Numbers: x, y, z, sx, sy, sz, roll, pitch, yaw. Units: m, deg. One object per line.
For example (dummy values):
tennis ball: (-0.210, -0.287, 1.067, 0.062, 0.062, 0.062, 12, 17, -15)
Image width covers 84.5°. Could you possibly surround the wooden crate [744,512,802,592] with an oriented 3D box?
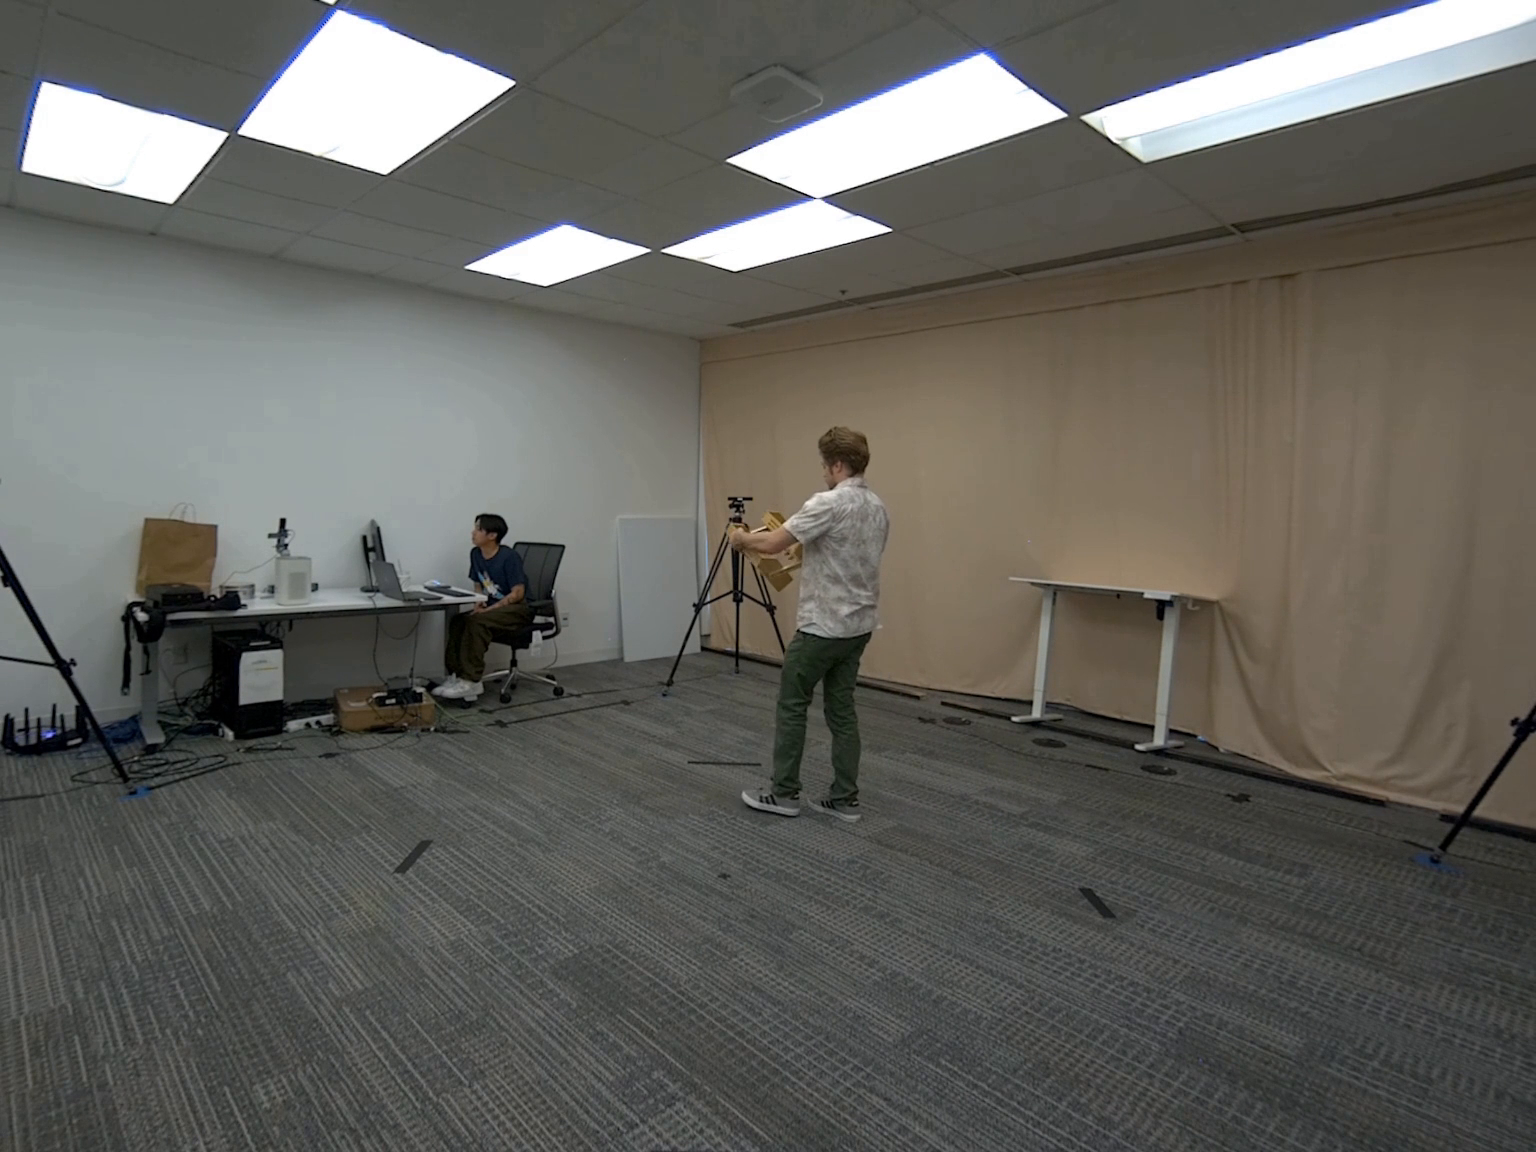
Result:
wooden crate: (0.024, -0.145, 3.923, 0.335, 0.273, 0.292, 48, -2, 44)
